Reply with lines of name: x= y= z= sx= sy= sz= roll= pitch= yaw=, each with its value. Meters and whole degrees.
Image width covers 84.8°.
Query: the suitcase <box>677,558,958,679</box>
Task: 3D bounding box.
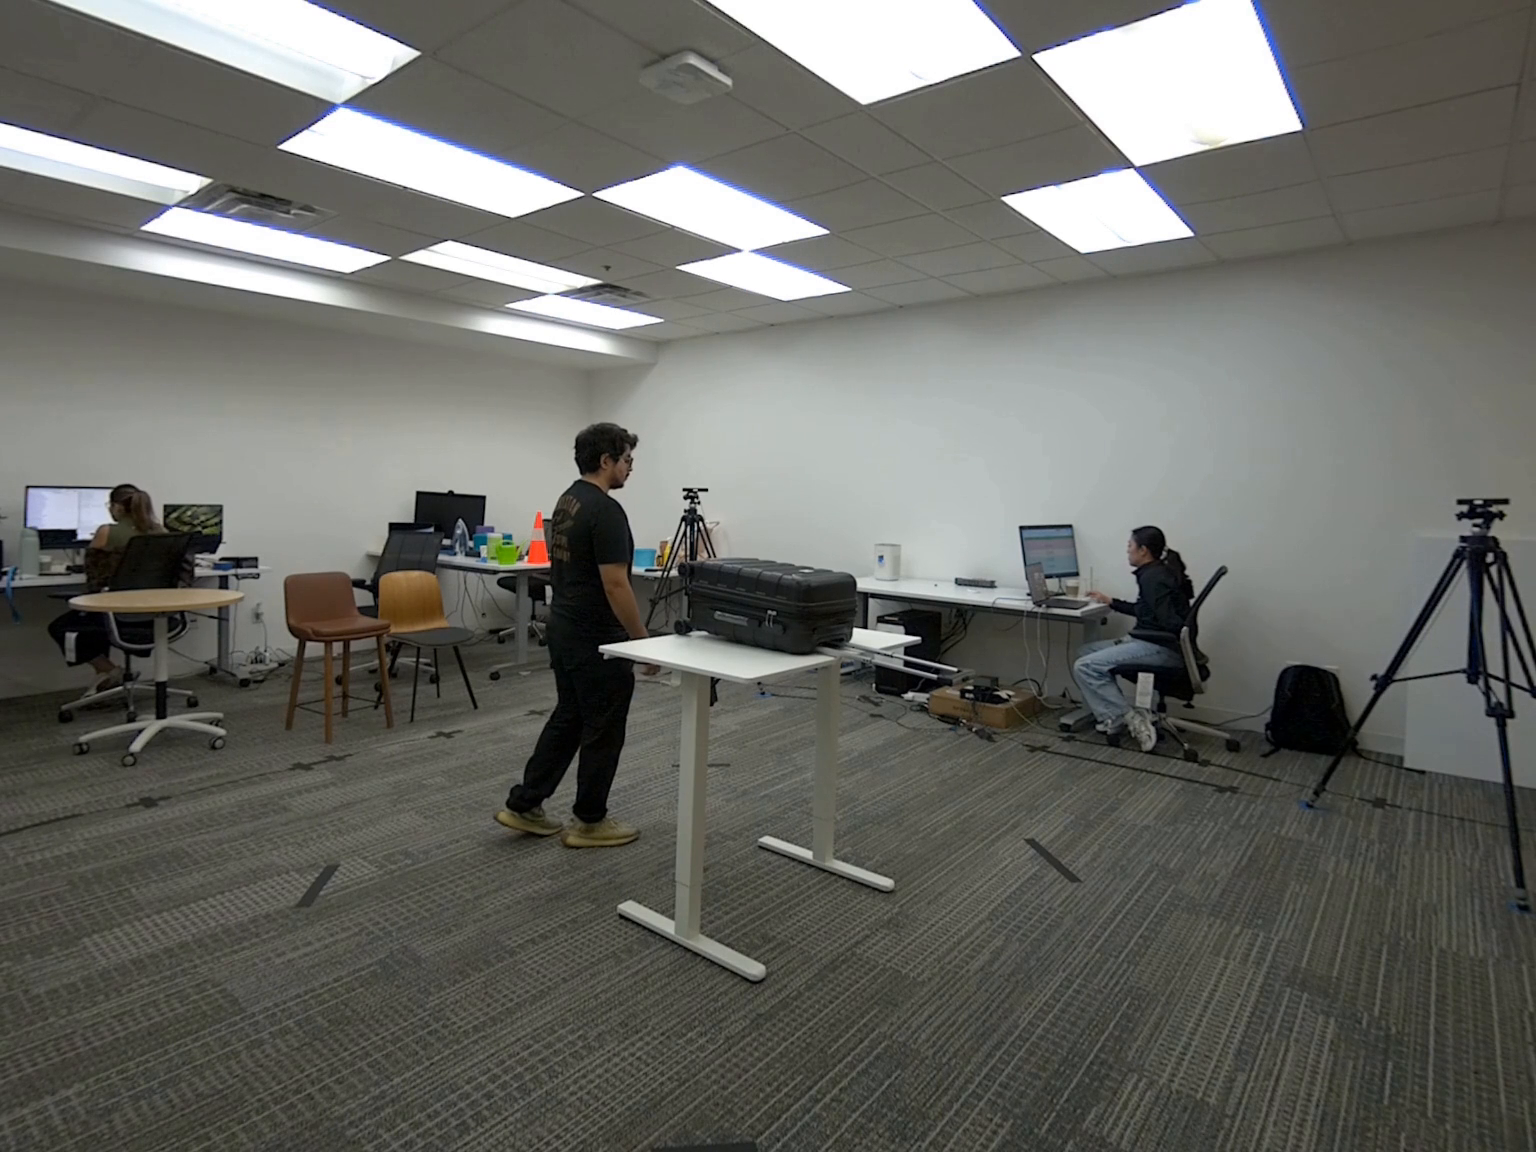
suitcase: x=0.158 y=0.115 z=2.723 sx=1.013 sy=0.256 sz=0.372 roll=8 pitch=6 yaw=39
